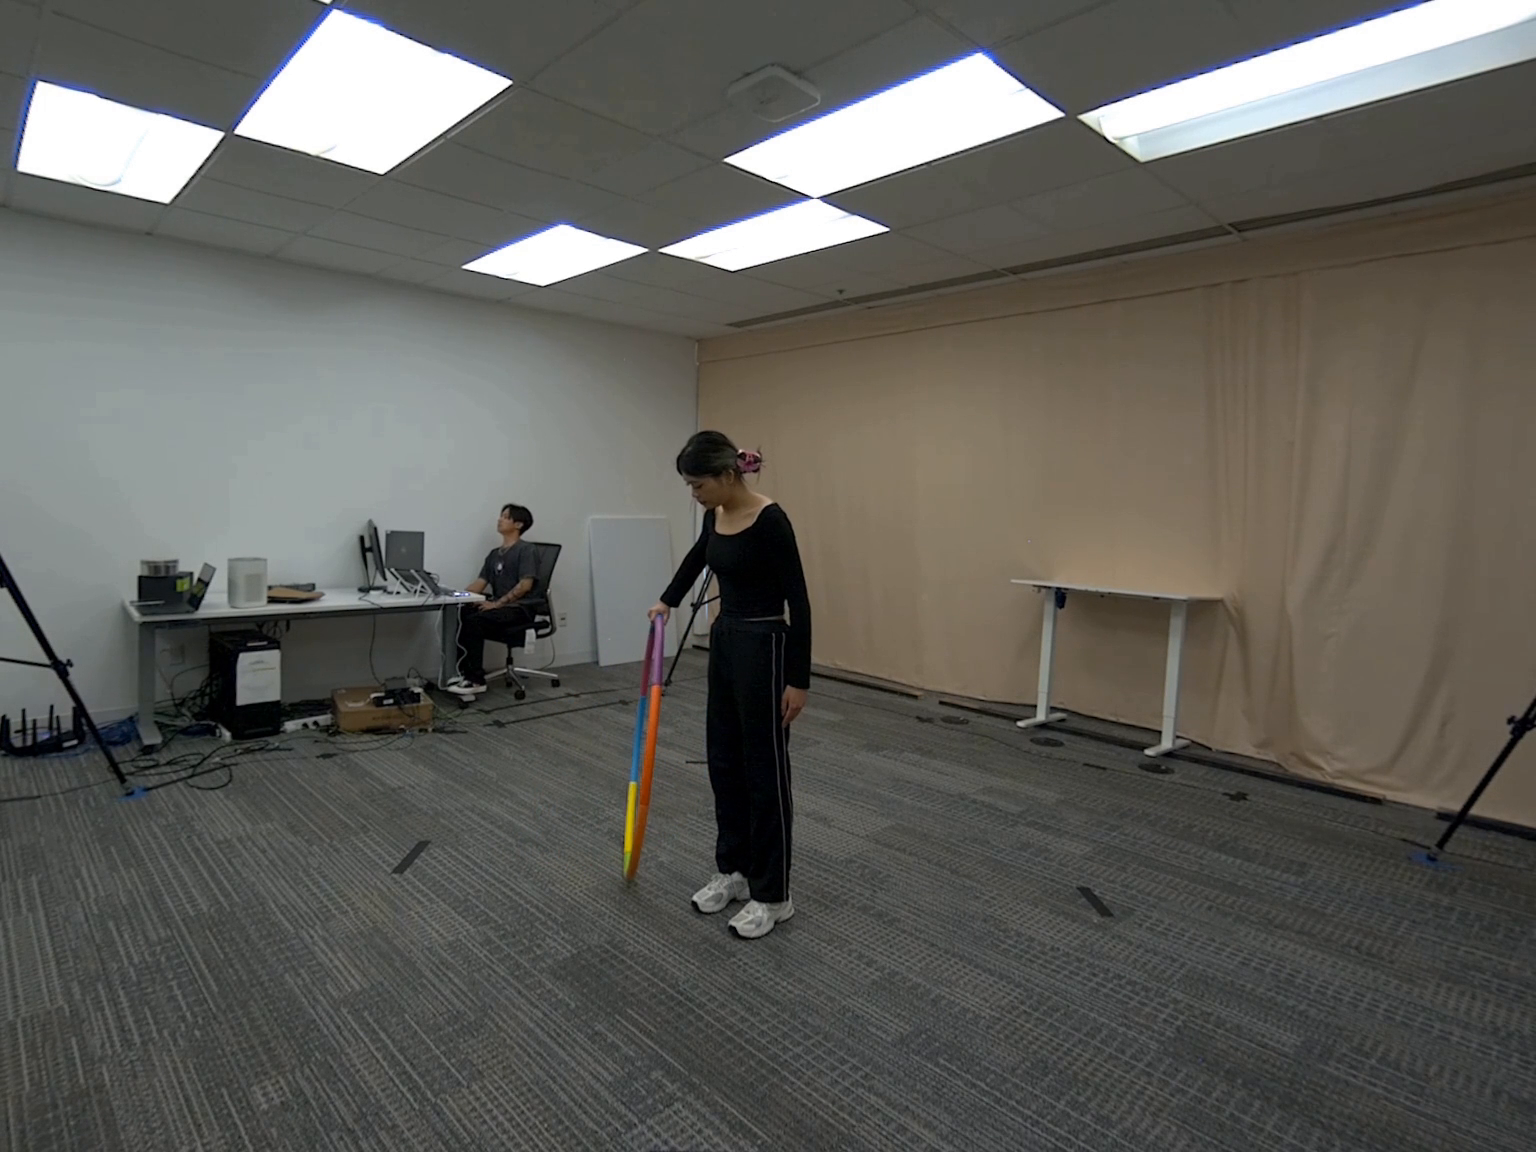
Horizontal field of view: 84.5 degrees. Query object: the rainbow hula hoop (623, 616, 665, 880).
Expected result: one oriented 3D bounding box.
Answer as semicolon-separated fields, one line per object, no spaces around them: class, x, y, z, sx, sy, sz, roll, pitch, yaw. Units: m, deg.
rainbow hula hoop;-0.467;0.612;3.146;0.035;0.977;0.987;9;3;-9
